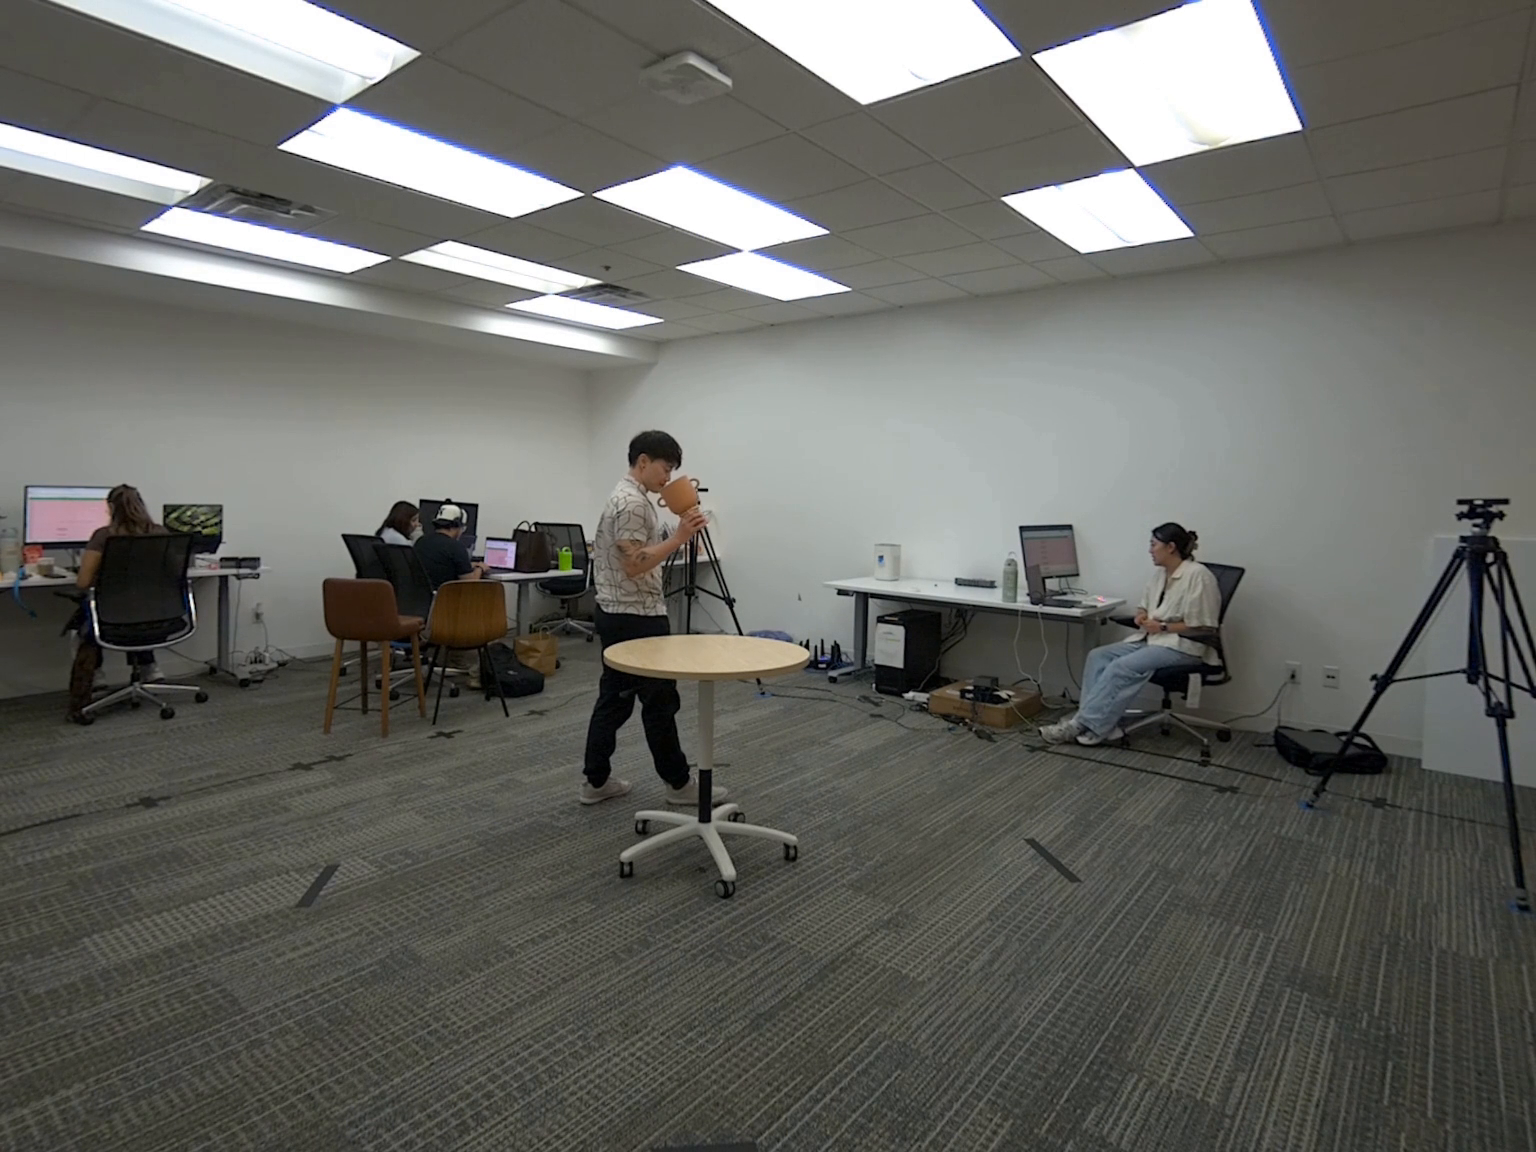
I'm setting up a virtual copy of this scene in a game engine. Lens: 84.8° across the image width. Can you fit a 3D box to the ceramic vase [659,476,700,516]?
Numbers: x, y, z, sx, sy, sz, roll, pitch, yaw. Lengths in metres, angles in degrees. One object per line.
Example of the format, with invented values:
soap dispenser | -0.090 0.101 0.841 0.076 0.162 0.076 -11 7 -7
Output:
ceramic vase | -0.353 -0.299 3.523 0.161 0.219 0.133 -28 3 43
